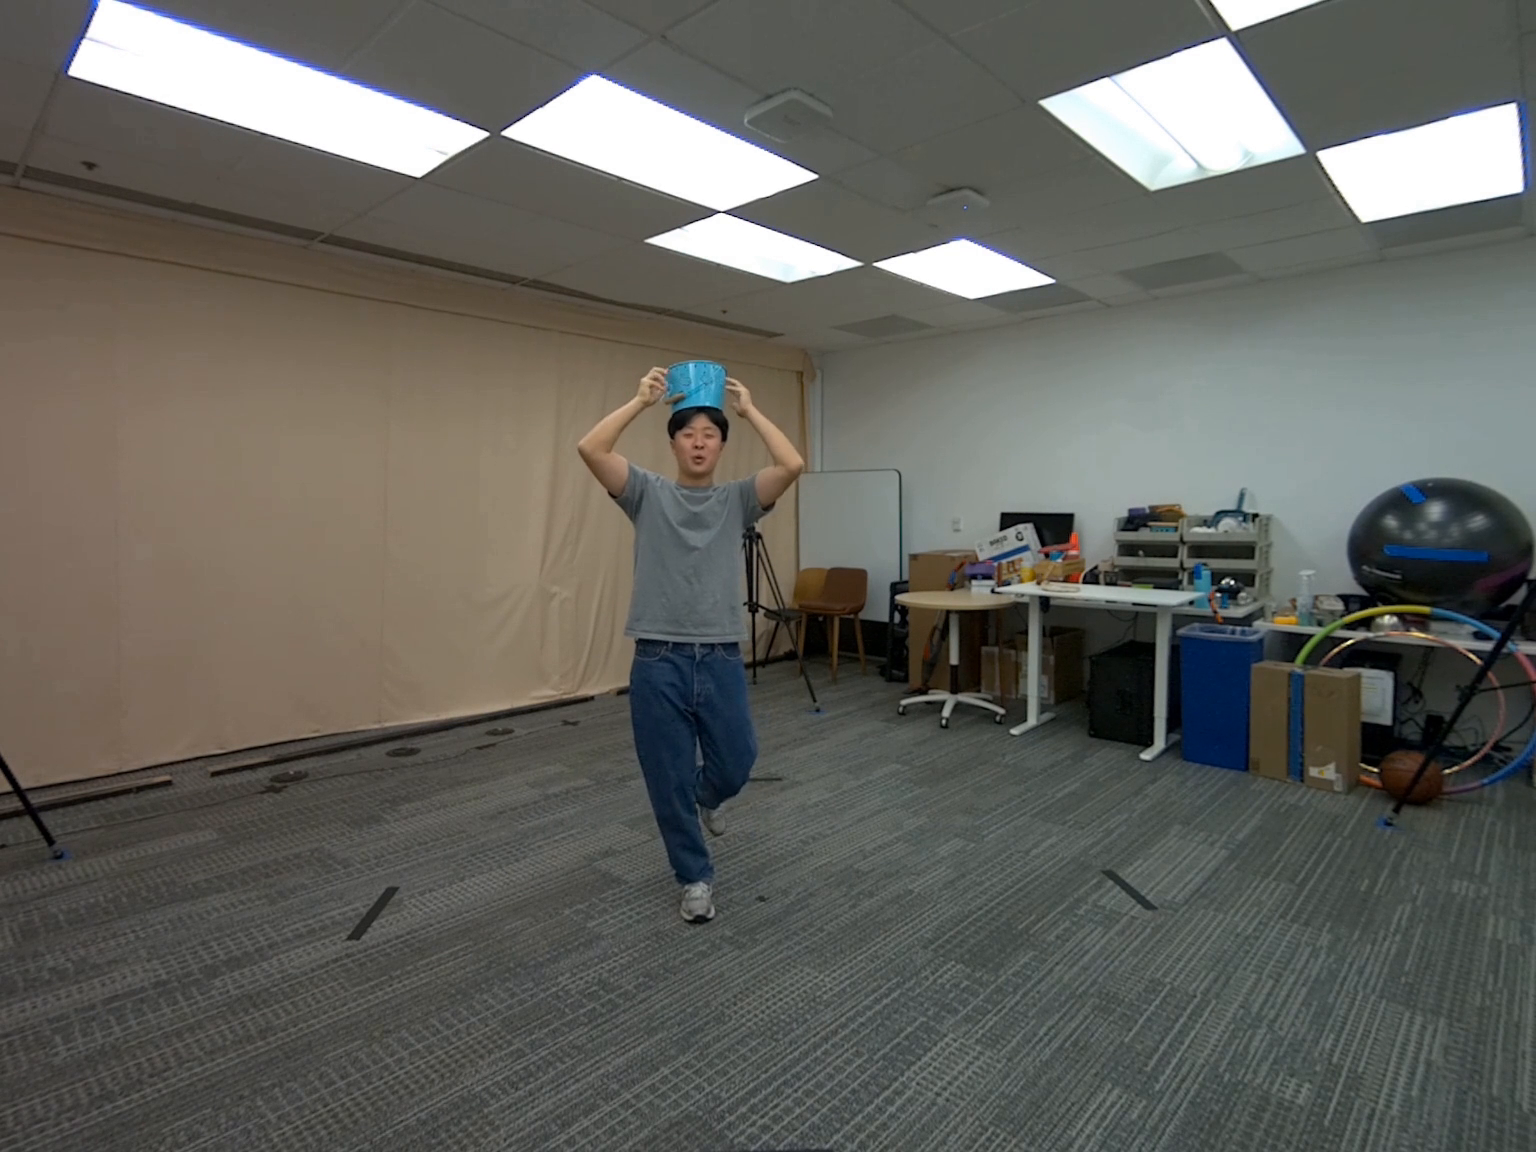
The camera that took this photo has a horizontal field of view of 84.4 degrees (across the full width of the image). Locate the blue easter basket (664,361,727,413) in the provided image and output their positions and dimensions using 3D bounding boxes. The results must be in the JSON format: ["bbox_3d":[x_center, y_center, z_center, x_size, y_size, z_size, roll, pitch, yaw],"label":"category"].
[{"bbox_3d":[-0.253,-0.626,2.939,0.243,0.157,0.242,-3,-12,-3],"label":"blue easter basket"}]
